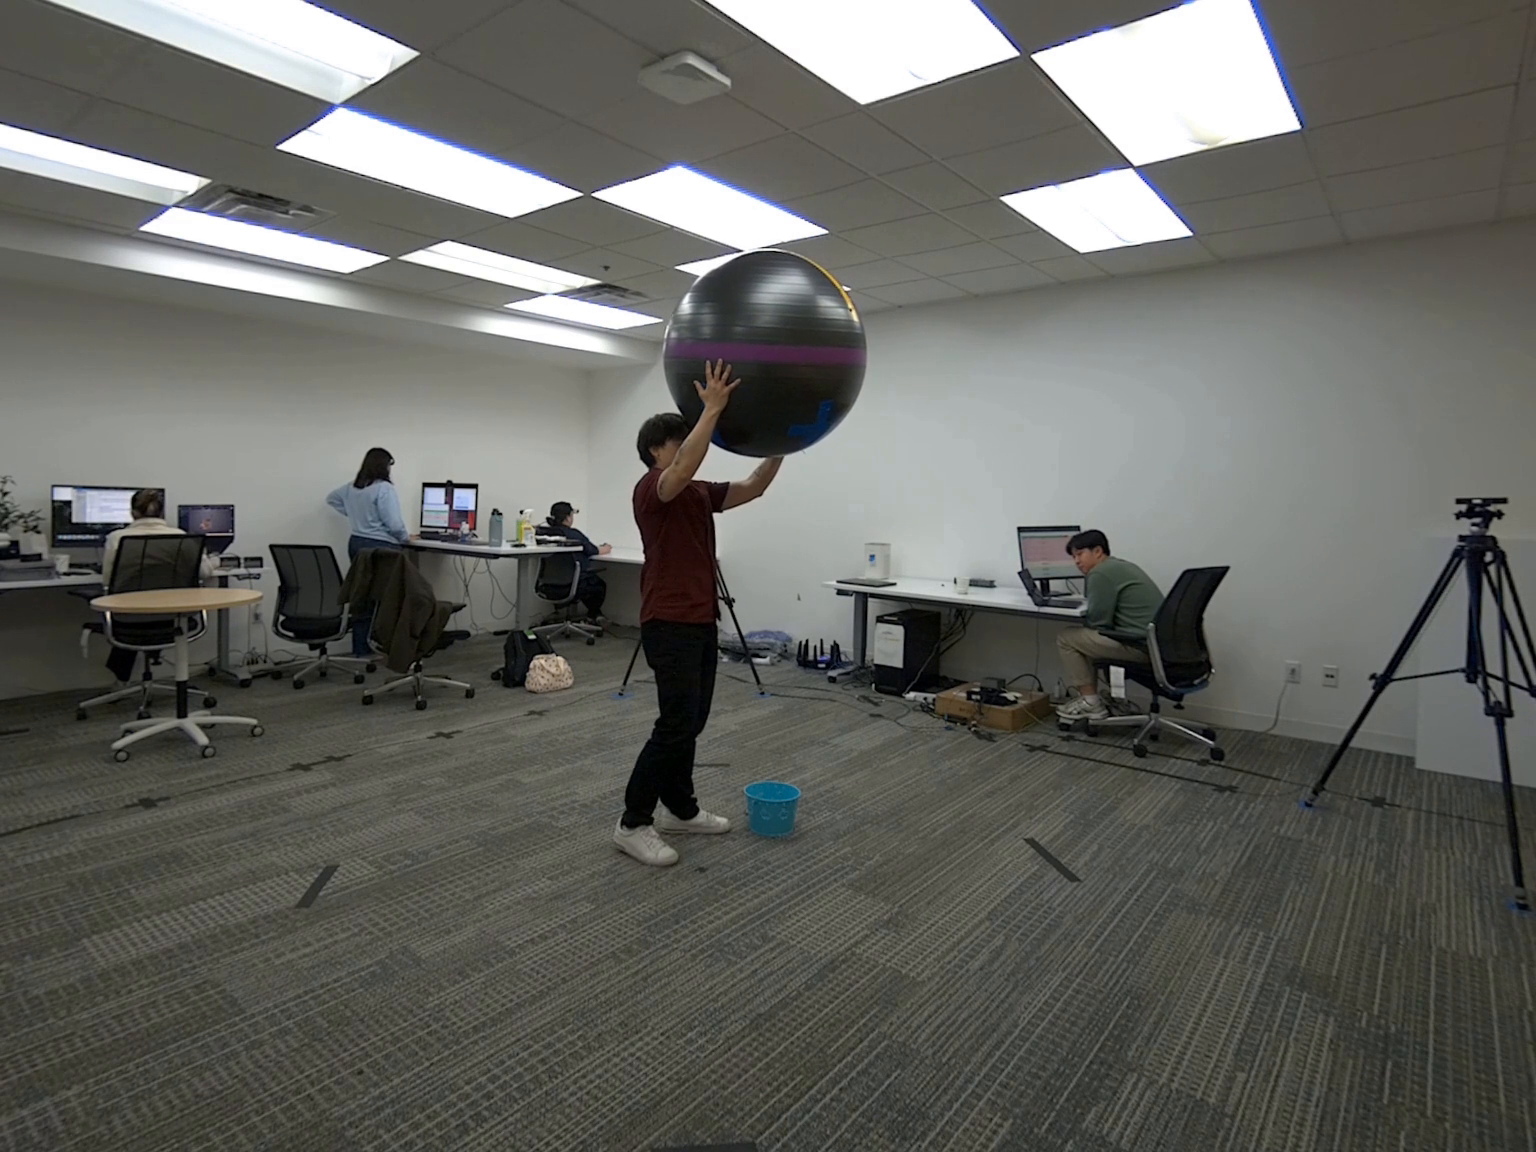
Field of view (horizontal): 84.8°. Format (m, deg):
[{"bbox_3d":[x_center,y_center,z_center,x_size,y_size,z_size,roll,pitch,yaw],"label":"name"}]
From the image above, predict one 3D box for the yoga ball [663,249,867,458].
[{"bbox_3d":[-0.017,-0.828,3.199,0.757,0.755,0.762,1,4,-2],"label":"yoga ball"}]
